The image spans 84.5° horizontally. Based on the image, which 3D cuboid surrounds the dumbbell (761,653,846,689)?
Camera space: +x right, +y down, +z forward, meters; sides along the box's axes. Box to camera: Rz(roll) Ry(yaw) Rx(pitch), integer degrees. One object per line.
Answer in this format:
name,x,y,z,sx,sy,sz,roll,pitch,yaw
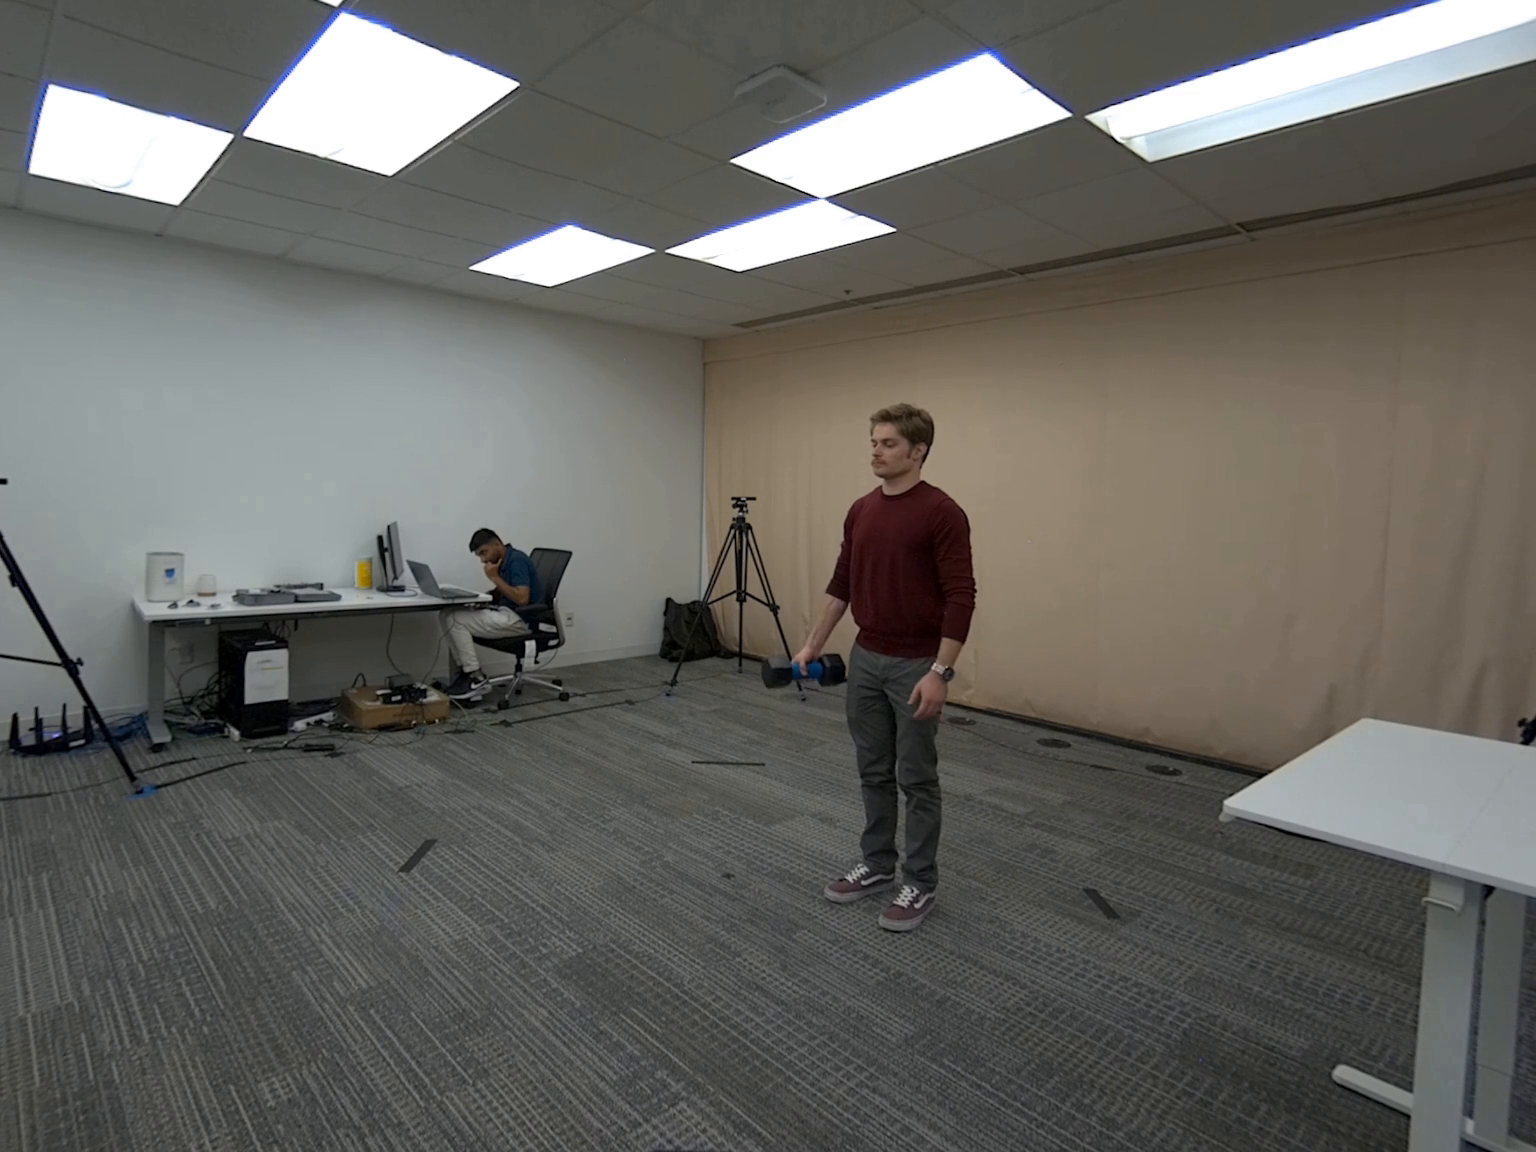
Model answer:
dumbbell,0.129,0.321,2.990,0.290,0.122,0.111,1,10,-17
